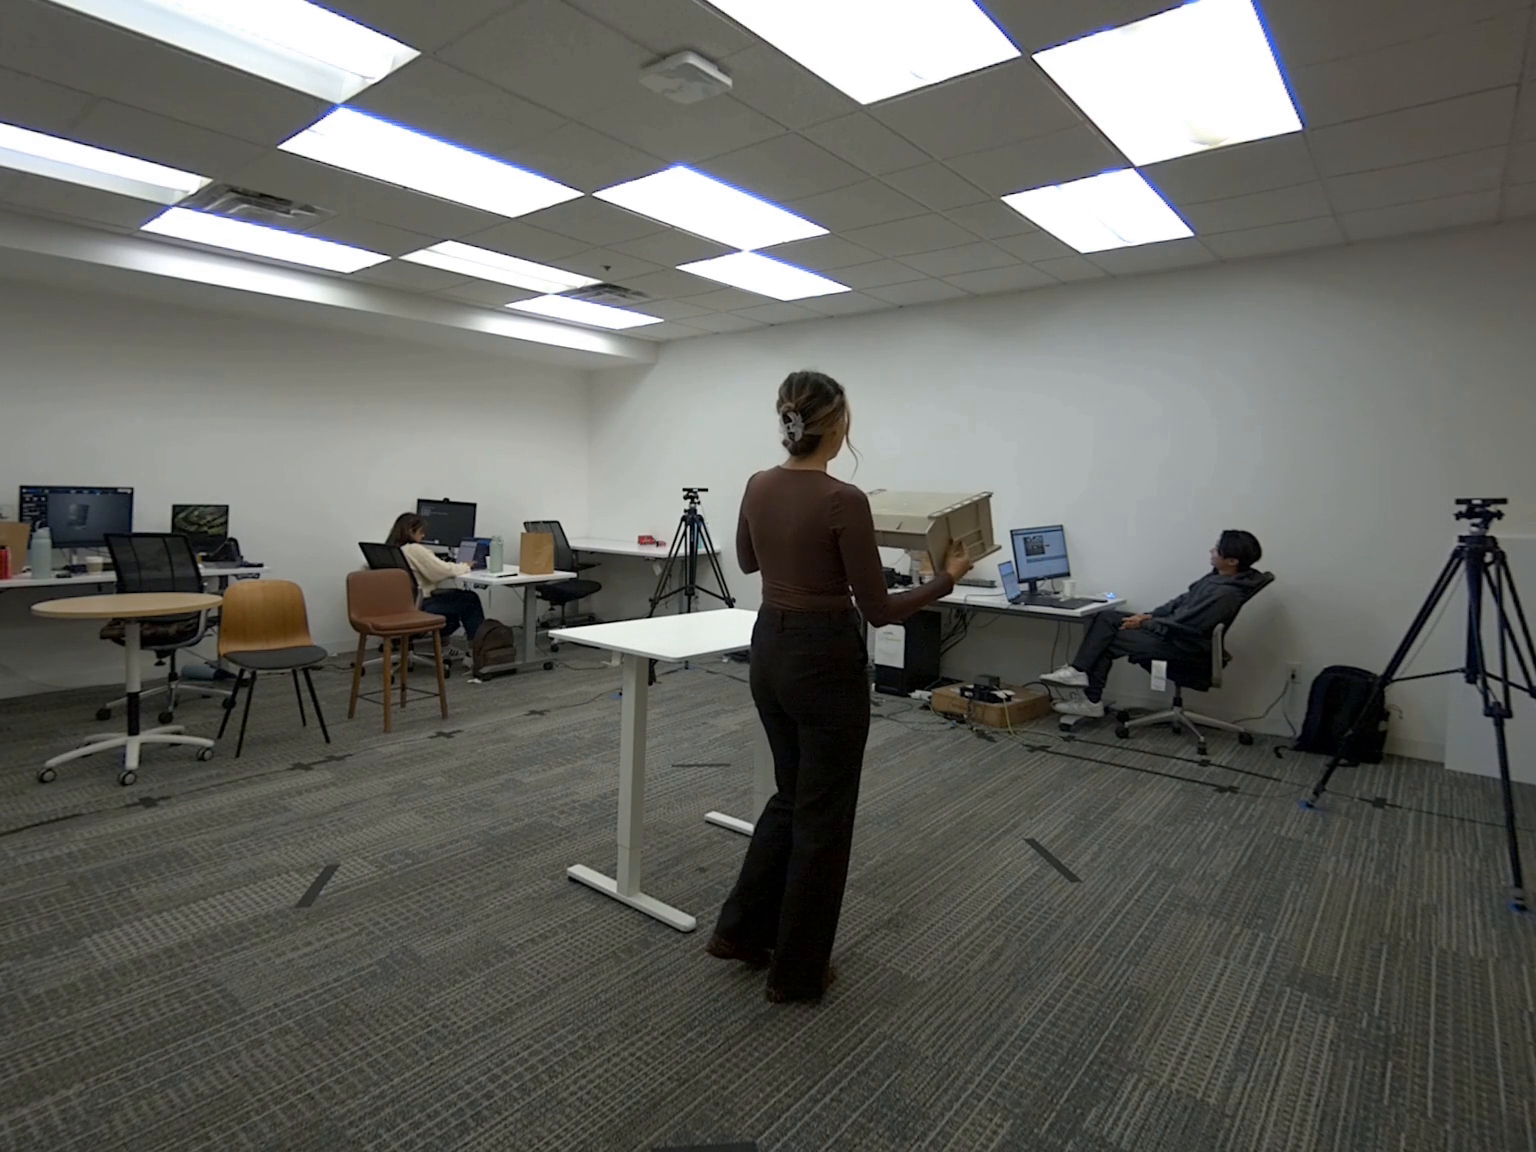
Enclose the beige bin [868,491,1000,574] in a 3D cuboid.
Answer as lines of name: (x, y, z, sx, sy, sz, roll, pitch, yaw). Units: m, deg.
beige bin: (0.403, -0.135, 2.565, 0.437, 0.186, 0.370, 7, 21, 45)
